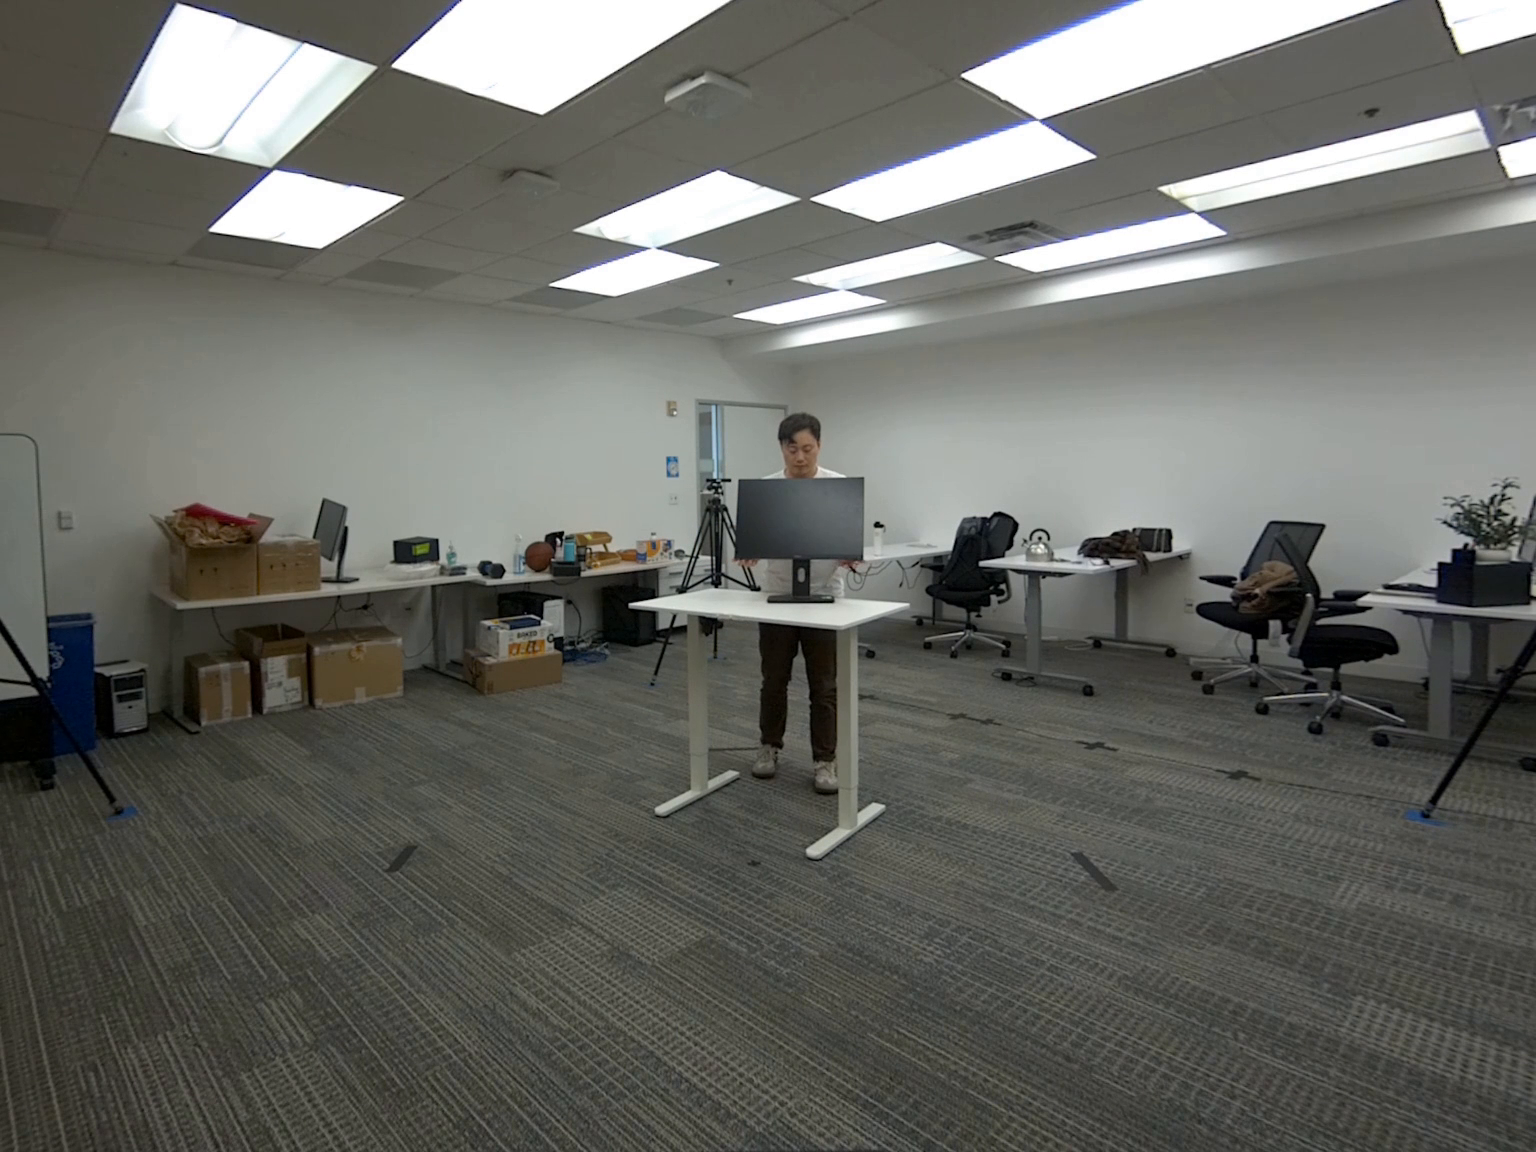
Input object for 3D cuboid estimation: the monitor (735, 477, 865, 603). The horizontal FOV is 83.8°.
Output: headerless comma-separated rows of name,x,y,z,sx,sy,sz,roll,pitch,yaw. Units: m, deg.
monitor,0.129,-0.150,3.610,0.544,0.523,0.185,0,0,10
